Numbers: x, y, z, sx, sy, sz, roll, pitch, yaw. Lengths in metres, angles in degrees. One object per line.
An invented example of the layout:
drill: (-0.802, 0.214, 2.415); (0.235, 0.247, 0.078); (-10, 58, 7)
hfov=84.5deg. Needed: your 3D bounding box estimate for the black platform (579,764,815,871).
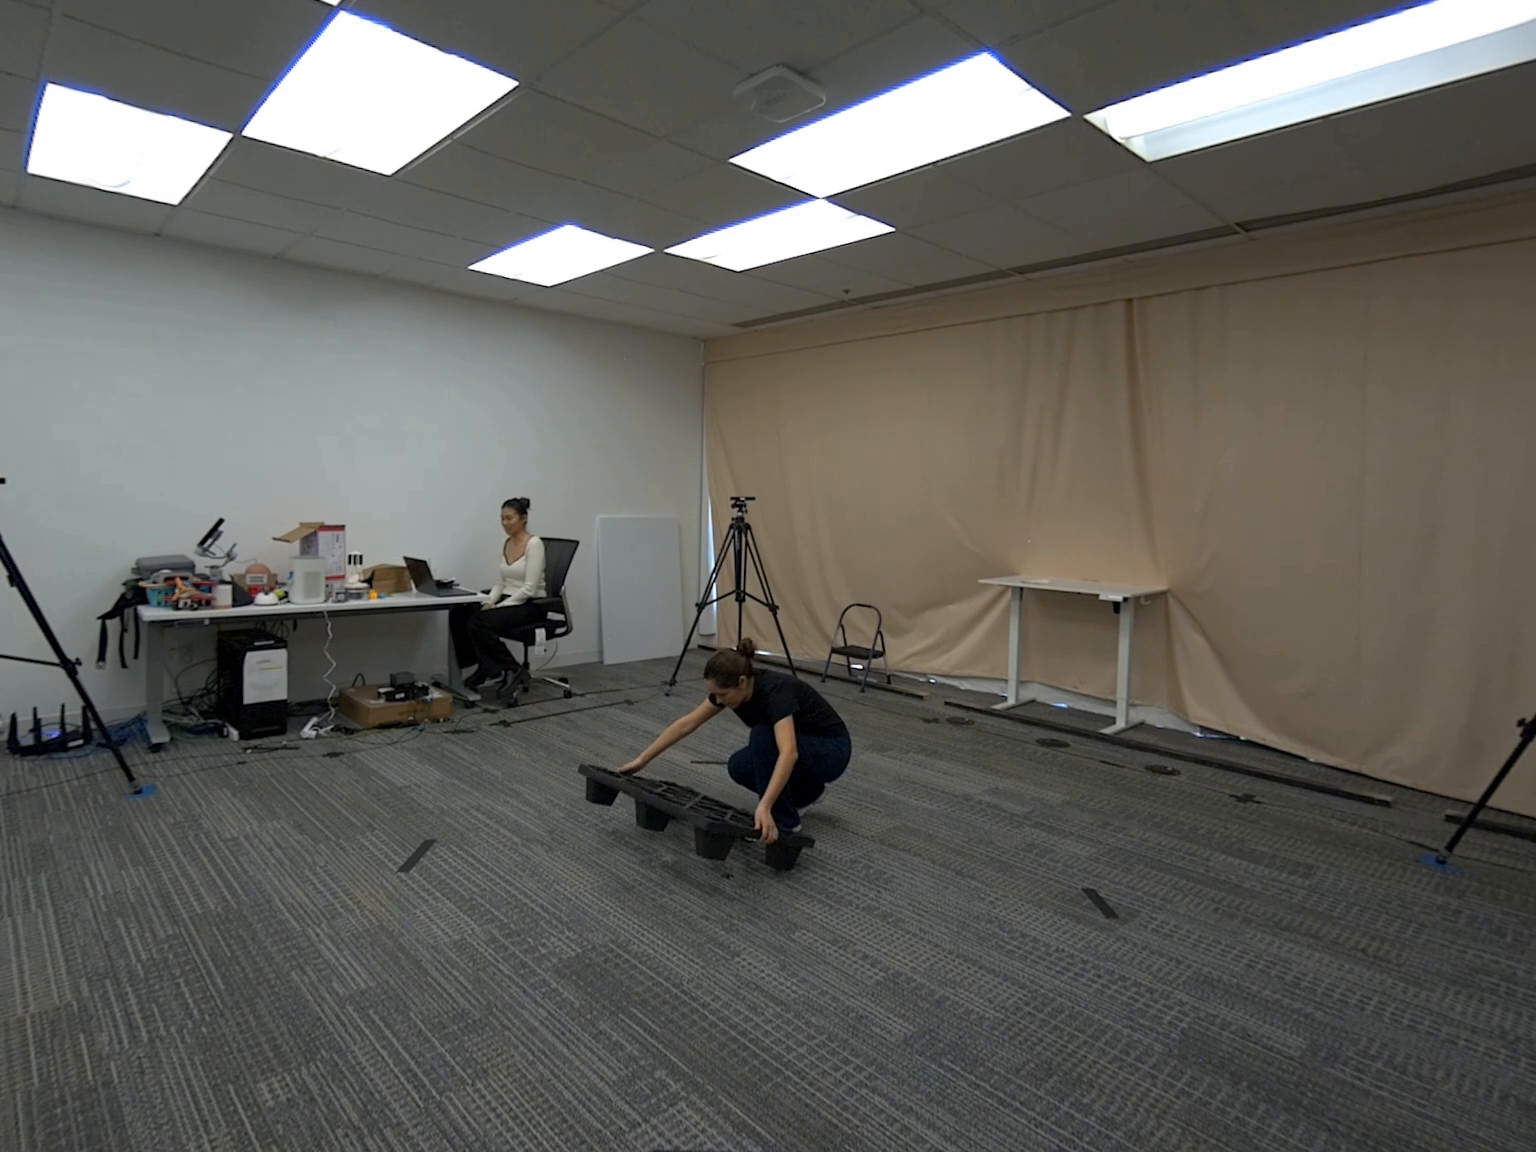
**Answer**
black platform: (-0.312, 0.946, 3.272); (0.826, 0.144, 0.586); (6, -15, 45)
